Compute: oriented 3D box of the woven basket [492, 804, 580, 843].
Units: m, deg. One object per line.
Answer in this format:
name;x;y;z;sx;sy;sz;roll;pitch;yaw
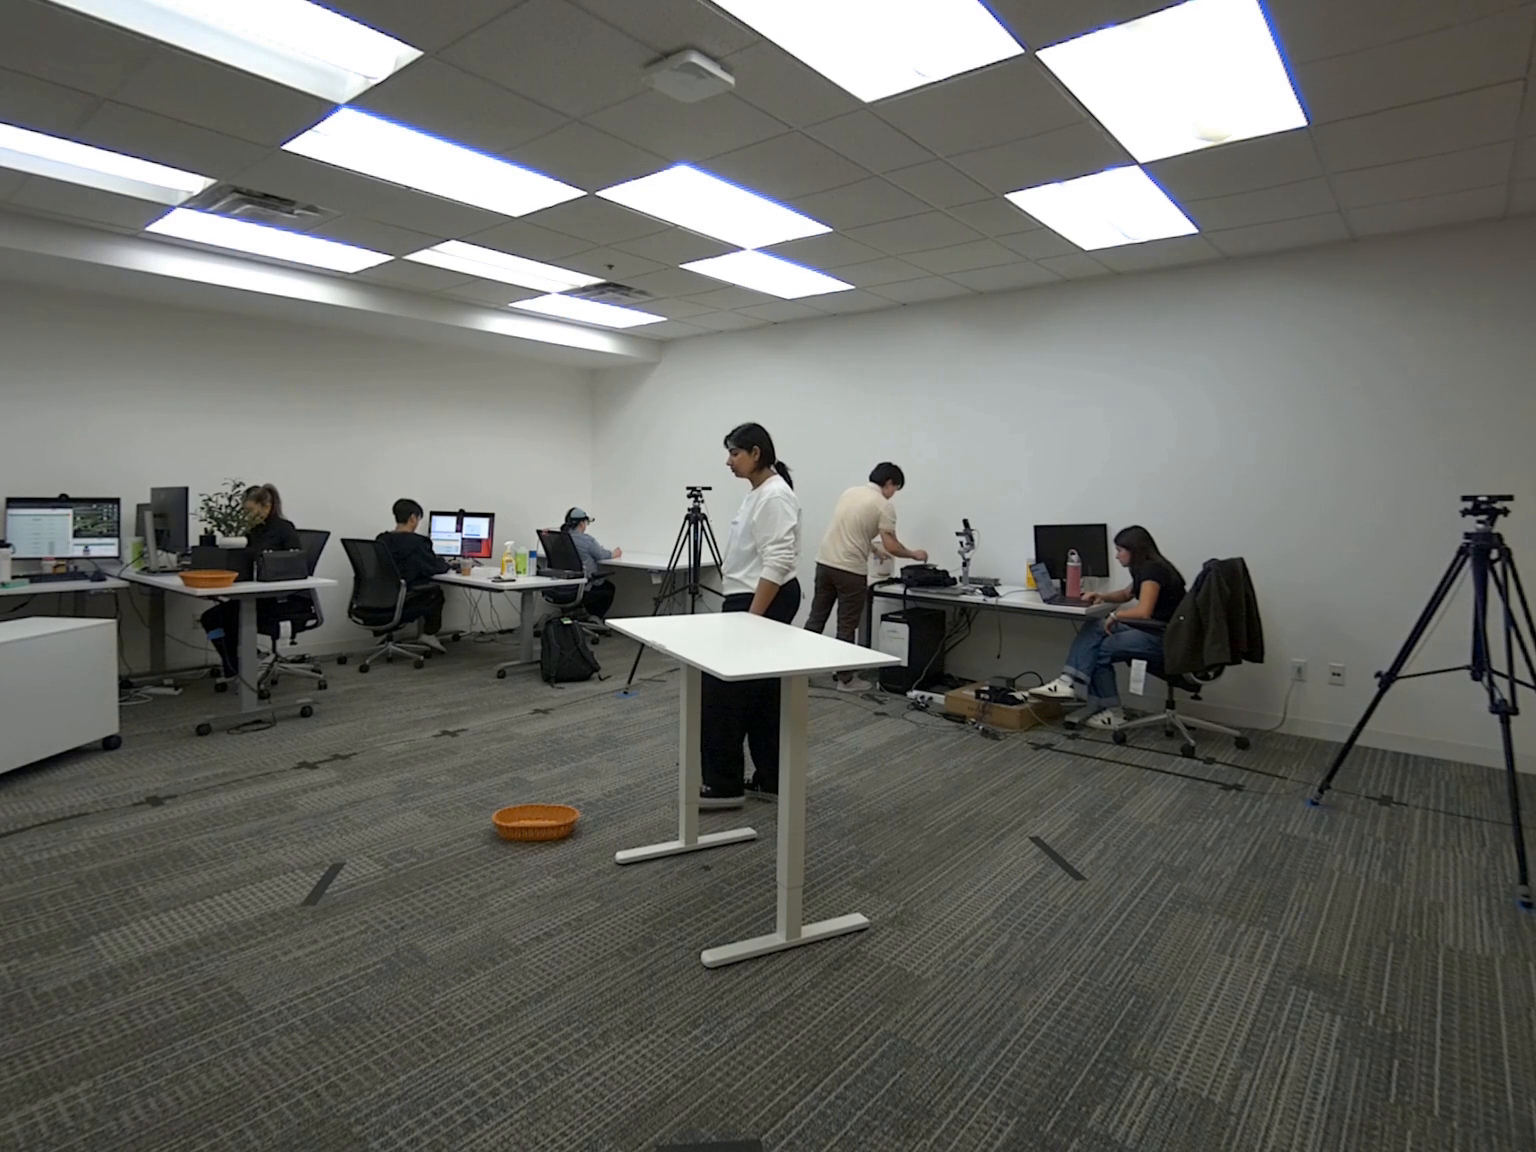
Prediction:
woven basket;-0.935;0.984;3.410;0.350;0.073;0.253;1;4;-2
